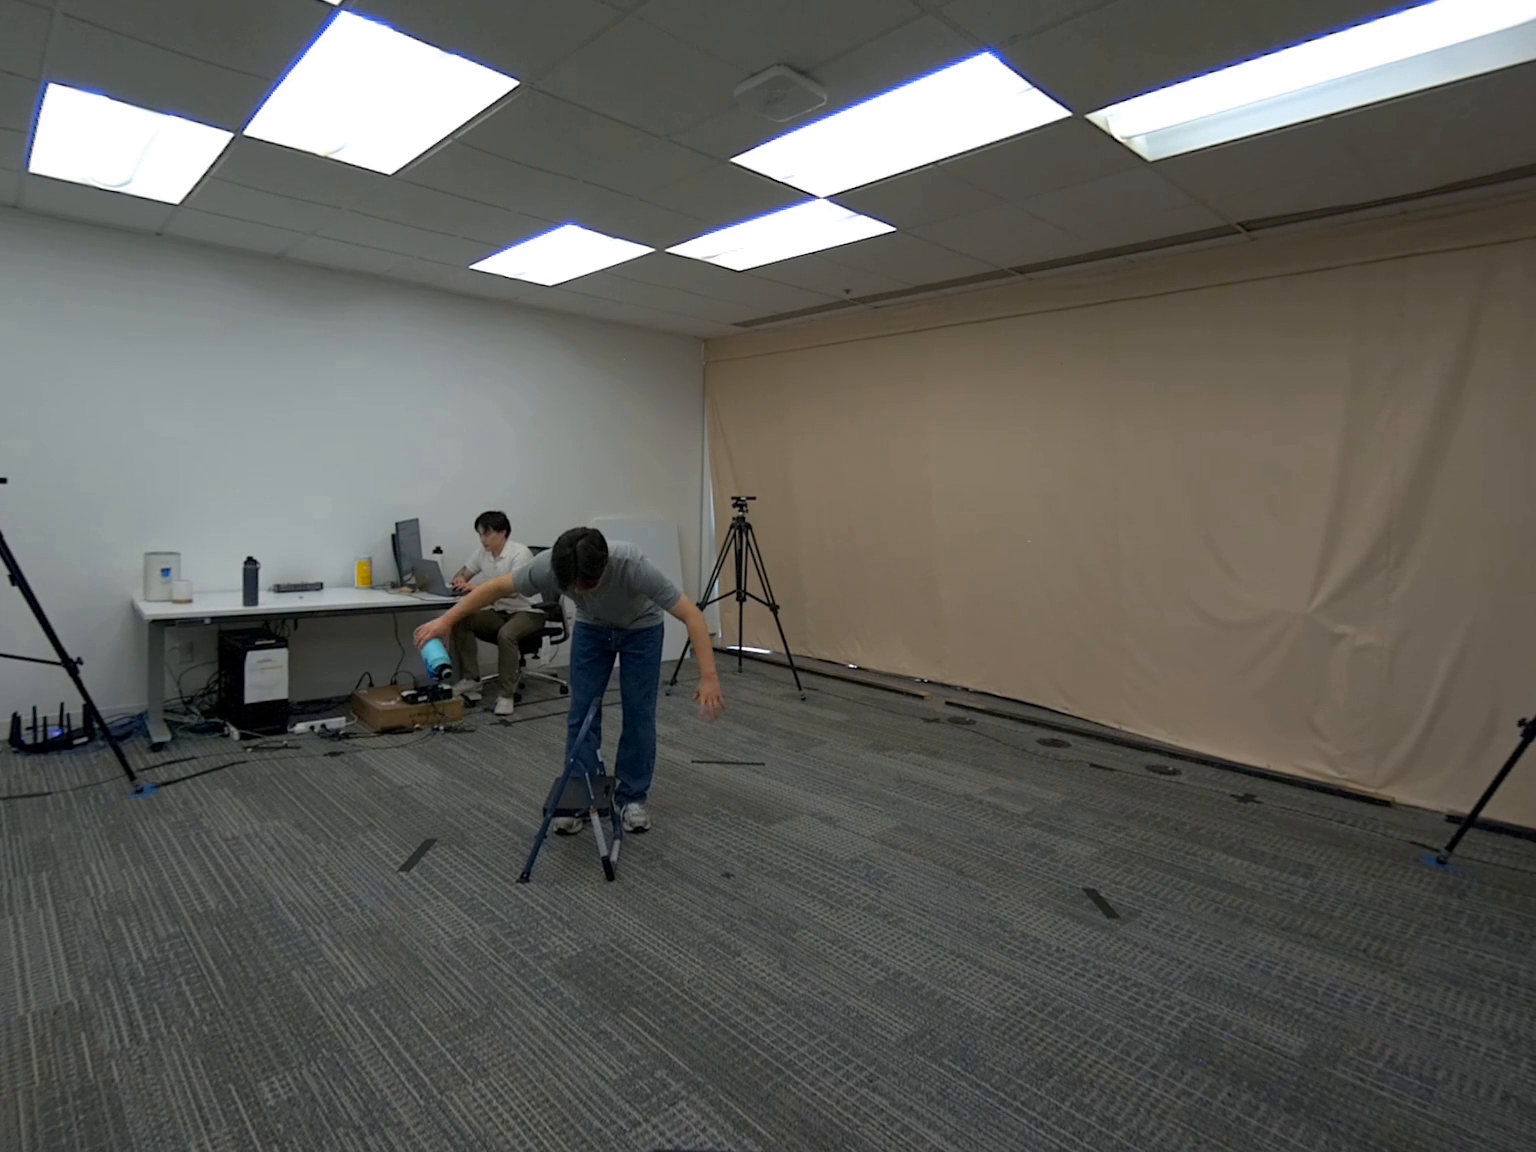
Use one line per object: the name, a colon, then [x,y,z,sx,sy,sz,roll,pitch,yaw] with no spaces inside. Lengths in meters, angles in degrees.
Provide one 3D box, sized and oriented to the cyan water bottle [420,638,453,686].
cyan water bottle: [-1.276,0.350,3.271,0.090,0.091,0.293,-2,30,-37]
